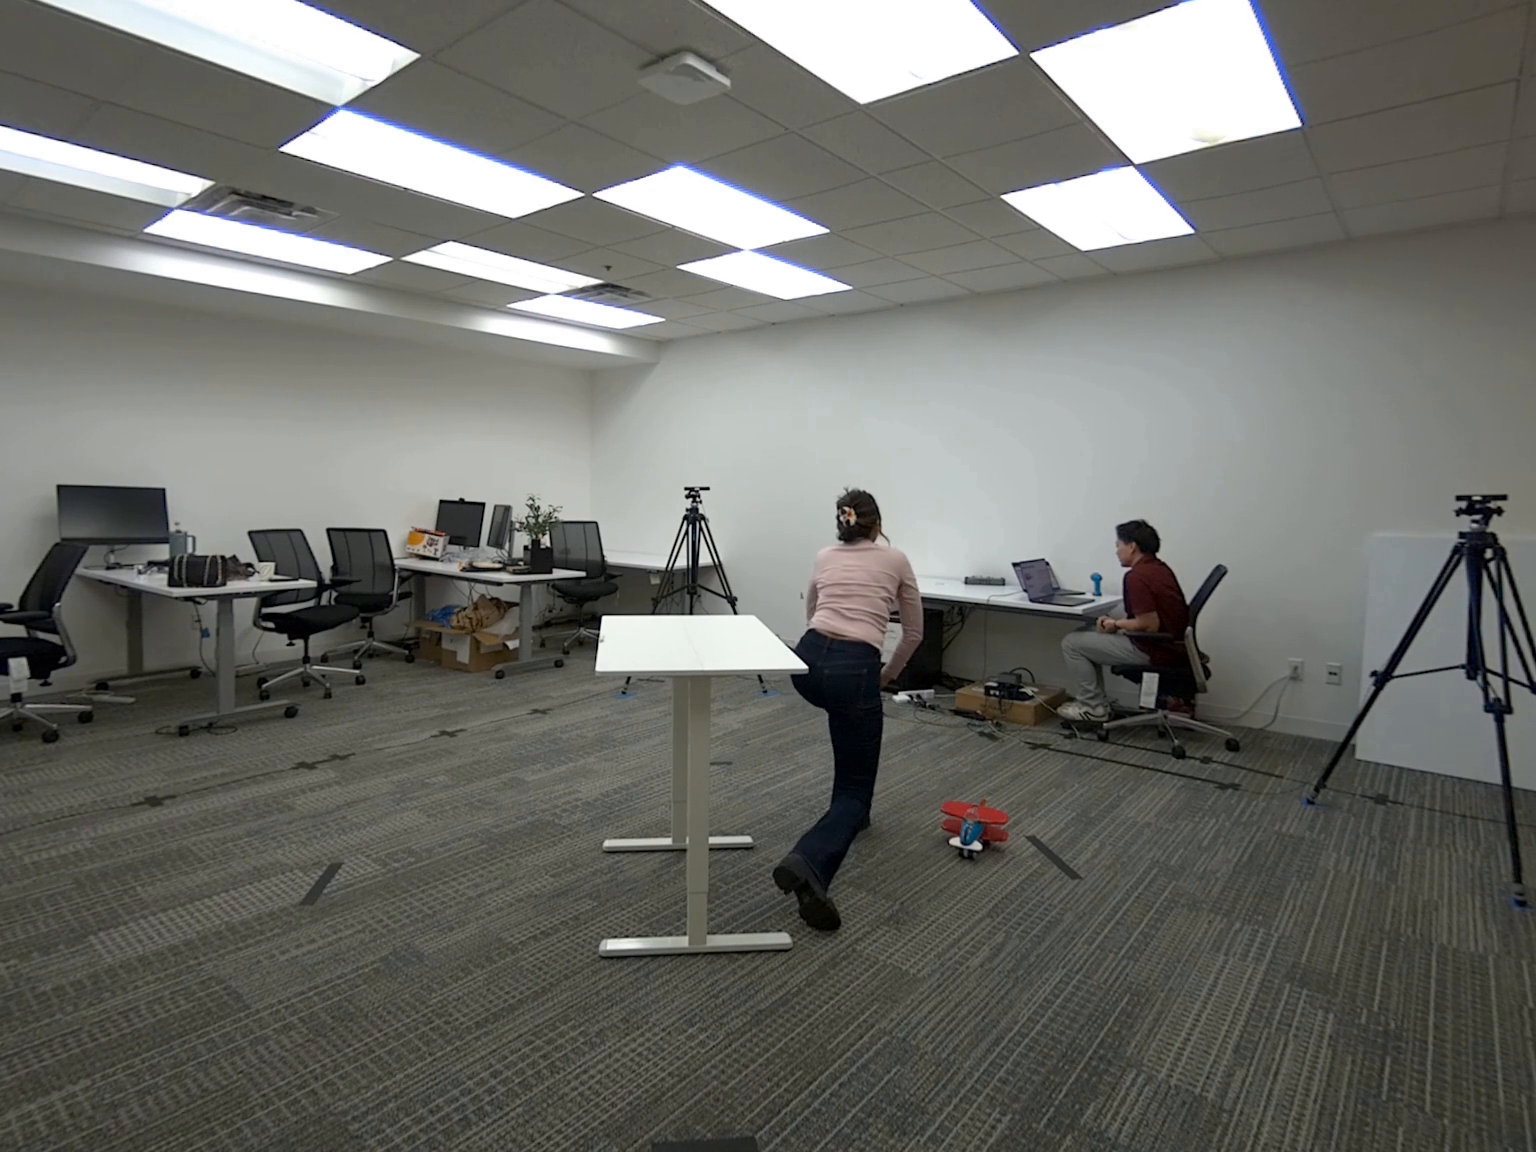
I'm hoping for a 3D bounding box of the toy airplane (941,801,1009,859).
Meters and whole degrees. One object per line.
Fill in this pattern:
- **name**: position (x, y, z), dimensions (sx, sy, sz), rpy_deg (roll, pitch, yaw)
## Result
- **toy airplane**: position (0.821, 0.996, 3.330), dimensions (0.251, 0.156, 0.260), rpy_deg (3, 4, -2)
